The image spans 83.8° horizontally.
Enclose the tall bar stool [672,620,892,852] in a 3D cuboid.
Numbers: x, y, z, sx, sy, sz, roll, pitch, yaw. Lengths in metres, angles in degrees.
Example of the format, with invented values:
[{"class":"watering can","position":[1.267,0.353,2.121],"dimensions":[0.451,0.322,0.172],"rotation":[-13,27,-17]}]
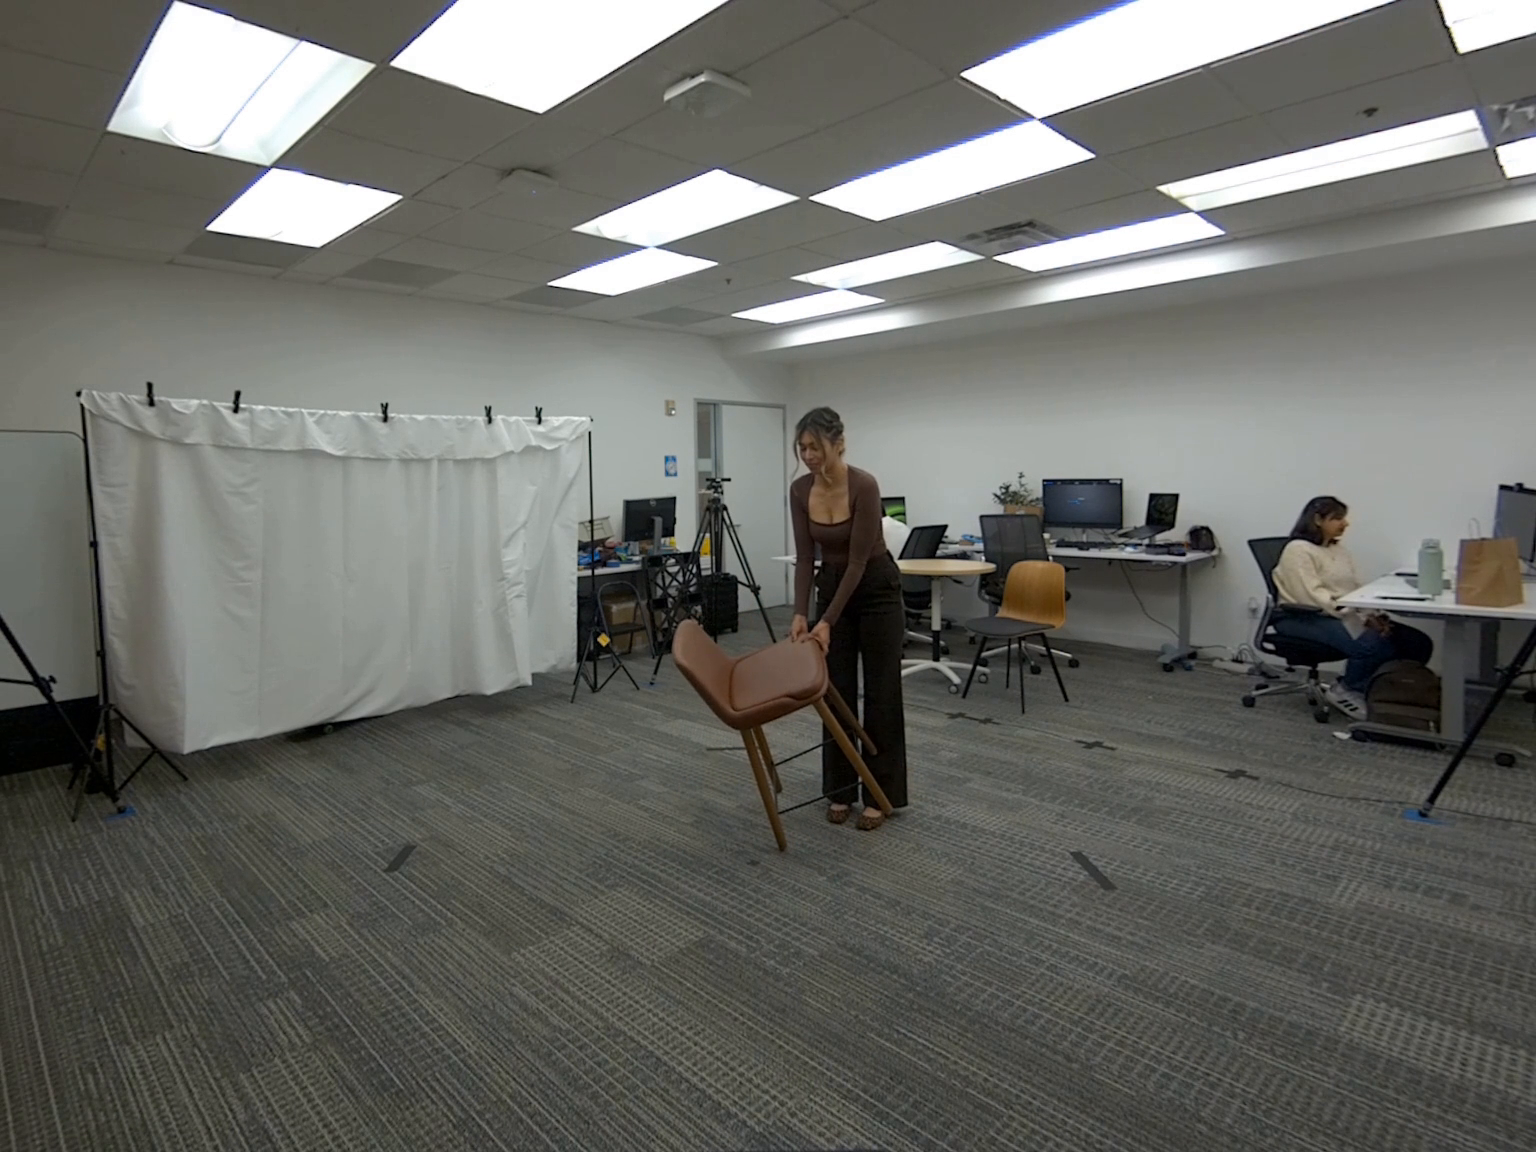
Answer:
[{"class":"tall bar stool","position":[0.065,0.522,3.217],"dimensions":[0.469,0.871,0.464],"rotation":[-25,18,8]}]
